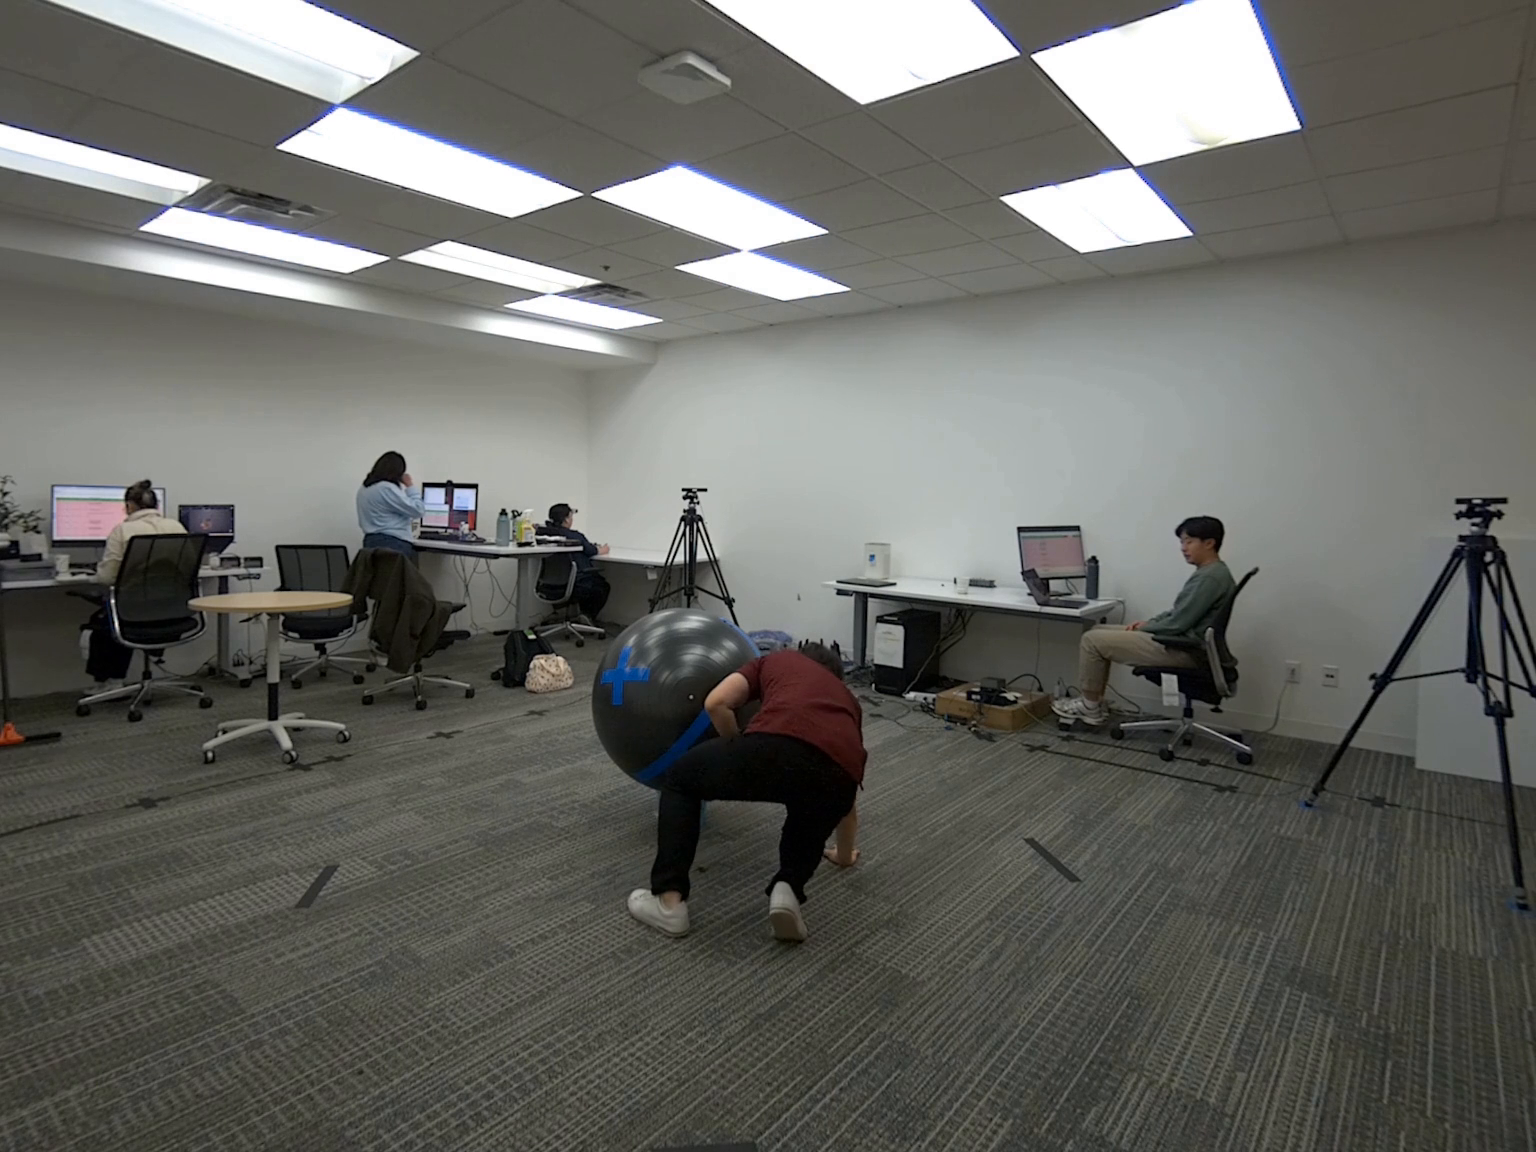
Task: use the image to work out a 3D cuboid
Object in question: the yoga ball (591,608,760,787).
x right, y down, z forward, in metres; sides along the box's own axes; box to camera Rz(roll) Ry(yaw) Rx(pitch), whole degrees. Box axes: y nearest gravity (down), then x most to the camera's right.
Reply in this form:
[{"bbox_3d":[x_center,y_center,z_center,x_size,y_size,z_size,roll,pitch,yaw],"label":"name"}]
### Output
[{"bbox_3d":[-0.364,0.516,3.549,0.757,0.755,0.762,1,4,-2],"label":"yoga ball"}]
